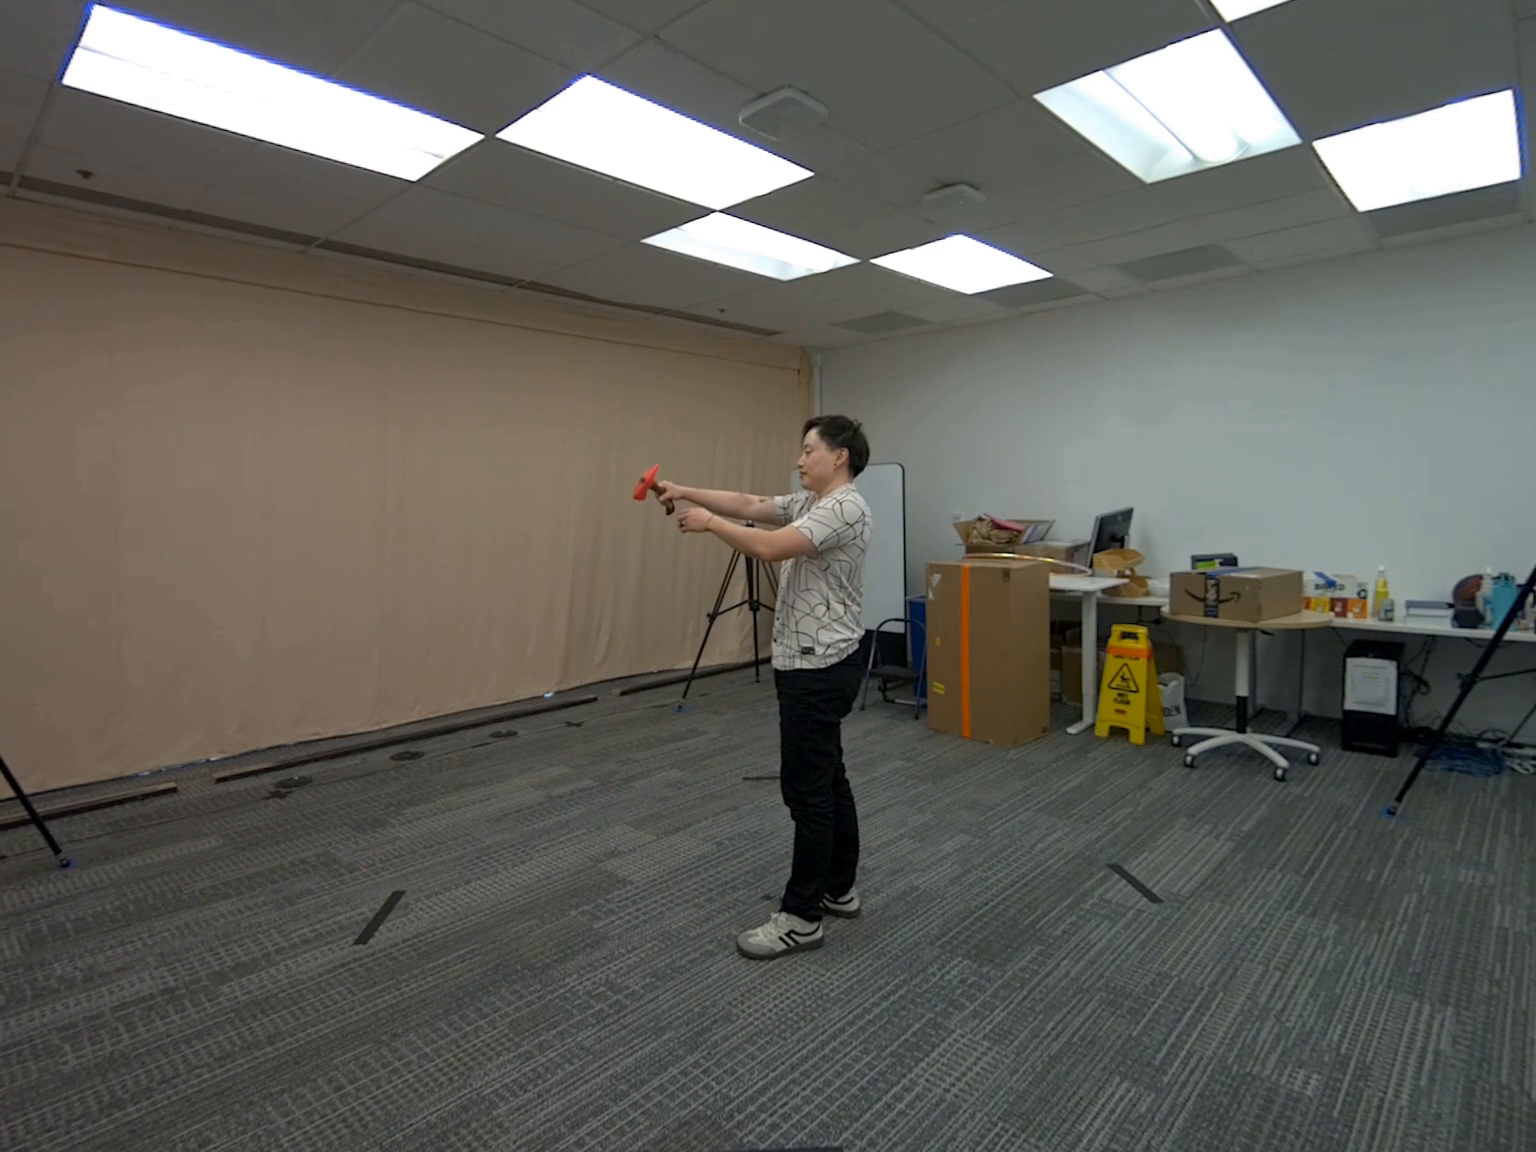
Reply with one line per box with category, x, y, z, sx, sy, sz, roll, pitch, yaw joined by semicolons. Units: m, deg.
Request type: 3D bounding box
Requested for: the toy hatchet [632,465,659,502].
toy hatchet;-0.385;-0.258;2.860;0.030;0.130;0.263;36;-18;24
